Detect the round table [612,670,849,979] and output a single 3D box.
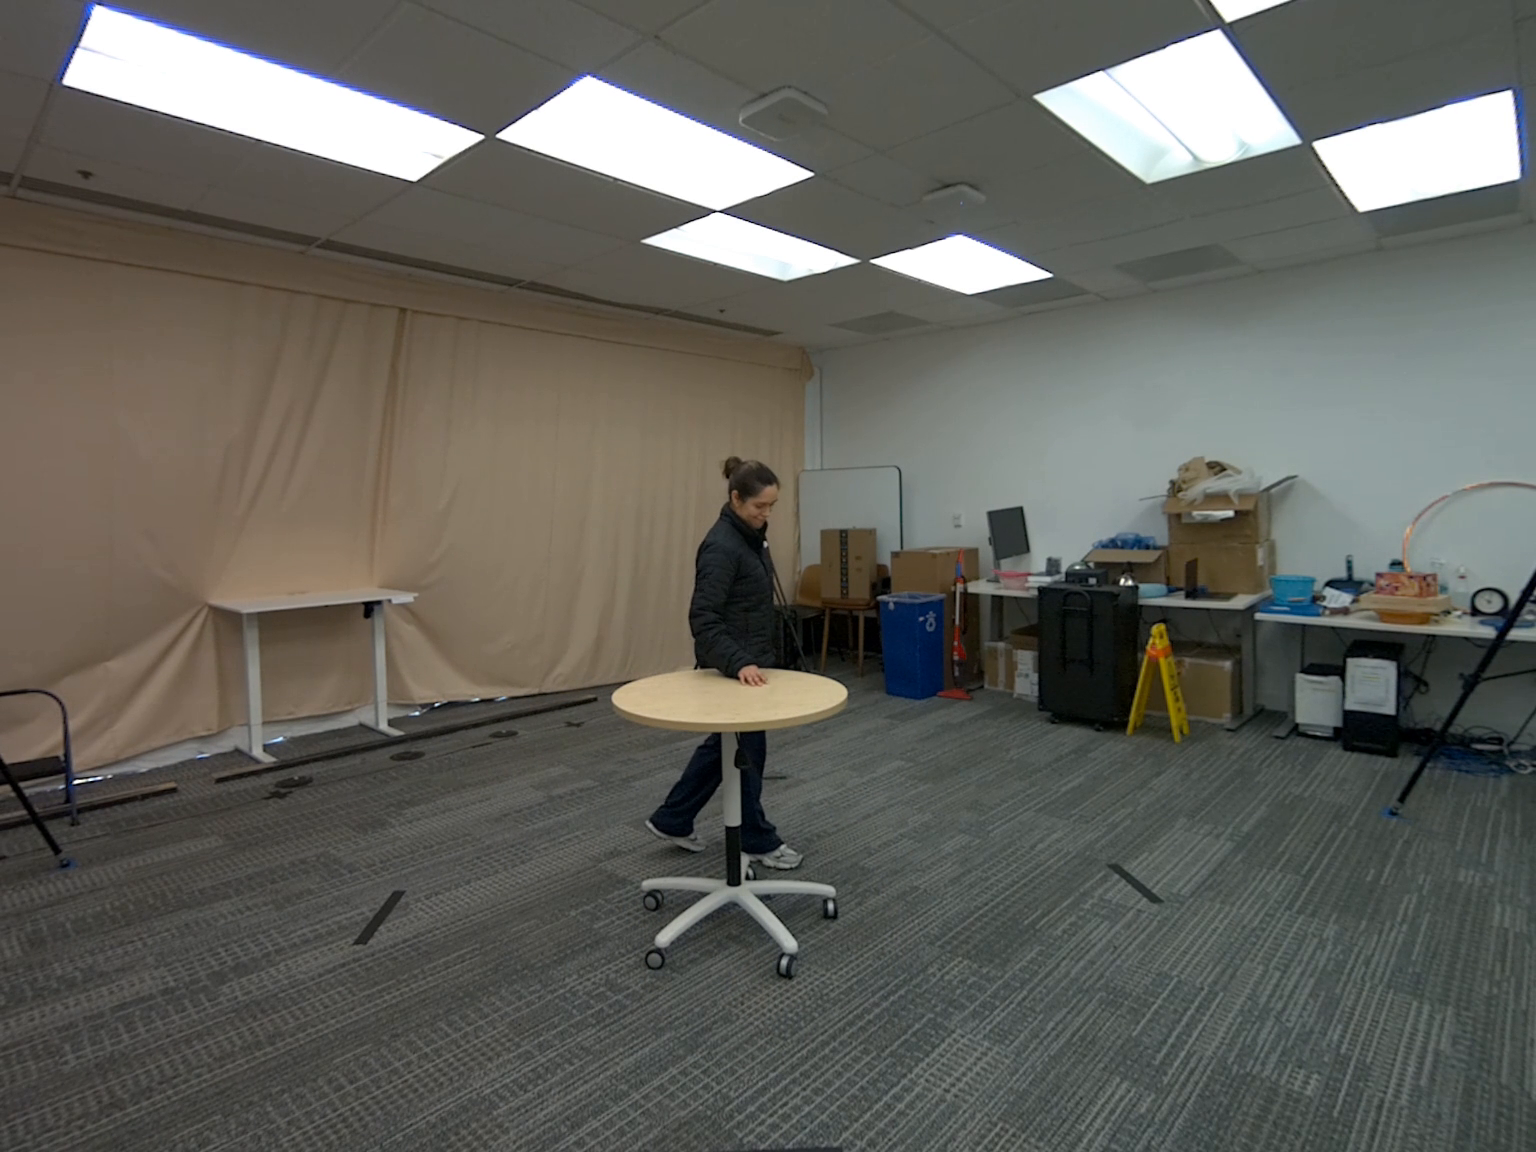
[{"bbox_3d":[-0.119,0.765,2.781,0.784,0.785,0.788,-1,3,-2],"label":"round table"}]
